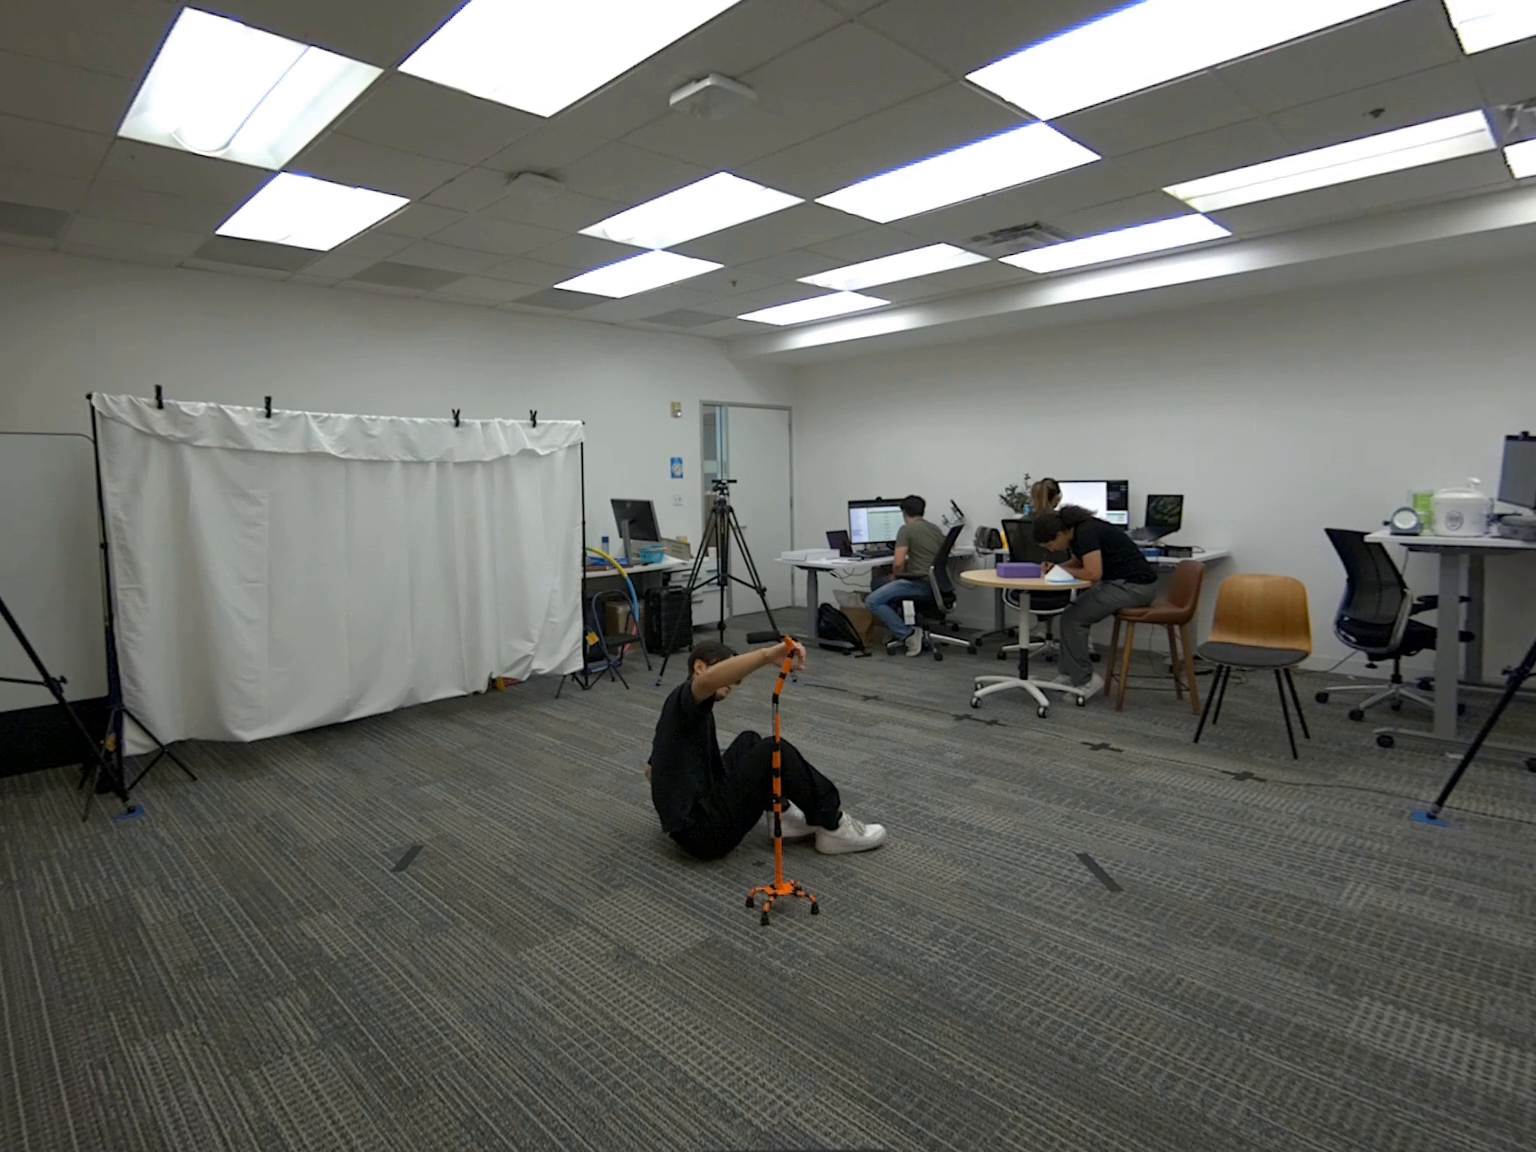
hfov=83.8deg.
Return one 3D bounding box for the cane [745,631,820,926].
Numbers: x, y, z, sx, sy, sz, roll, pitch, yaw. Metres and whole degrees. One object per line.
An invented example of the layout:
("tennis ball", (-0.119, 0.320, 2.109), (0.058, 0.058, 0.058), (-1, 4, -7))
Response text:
("cane", (0.041, 0.636, 2.751), (0.202, 0.905, 0.155), (-2, 4, -22))
